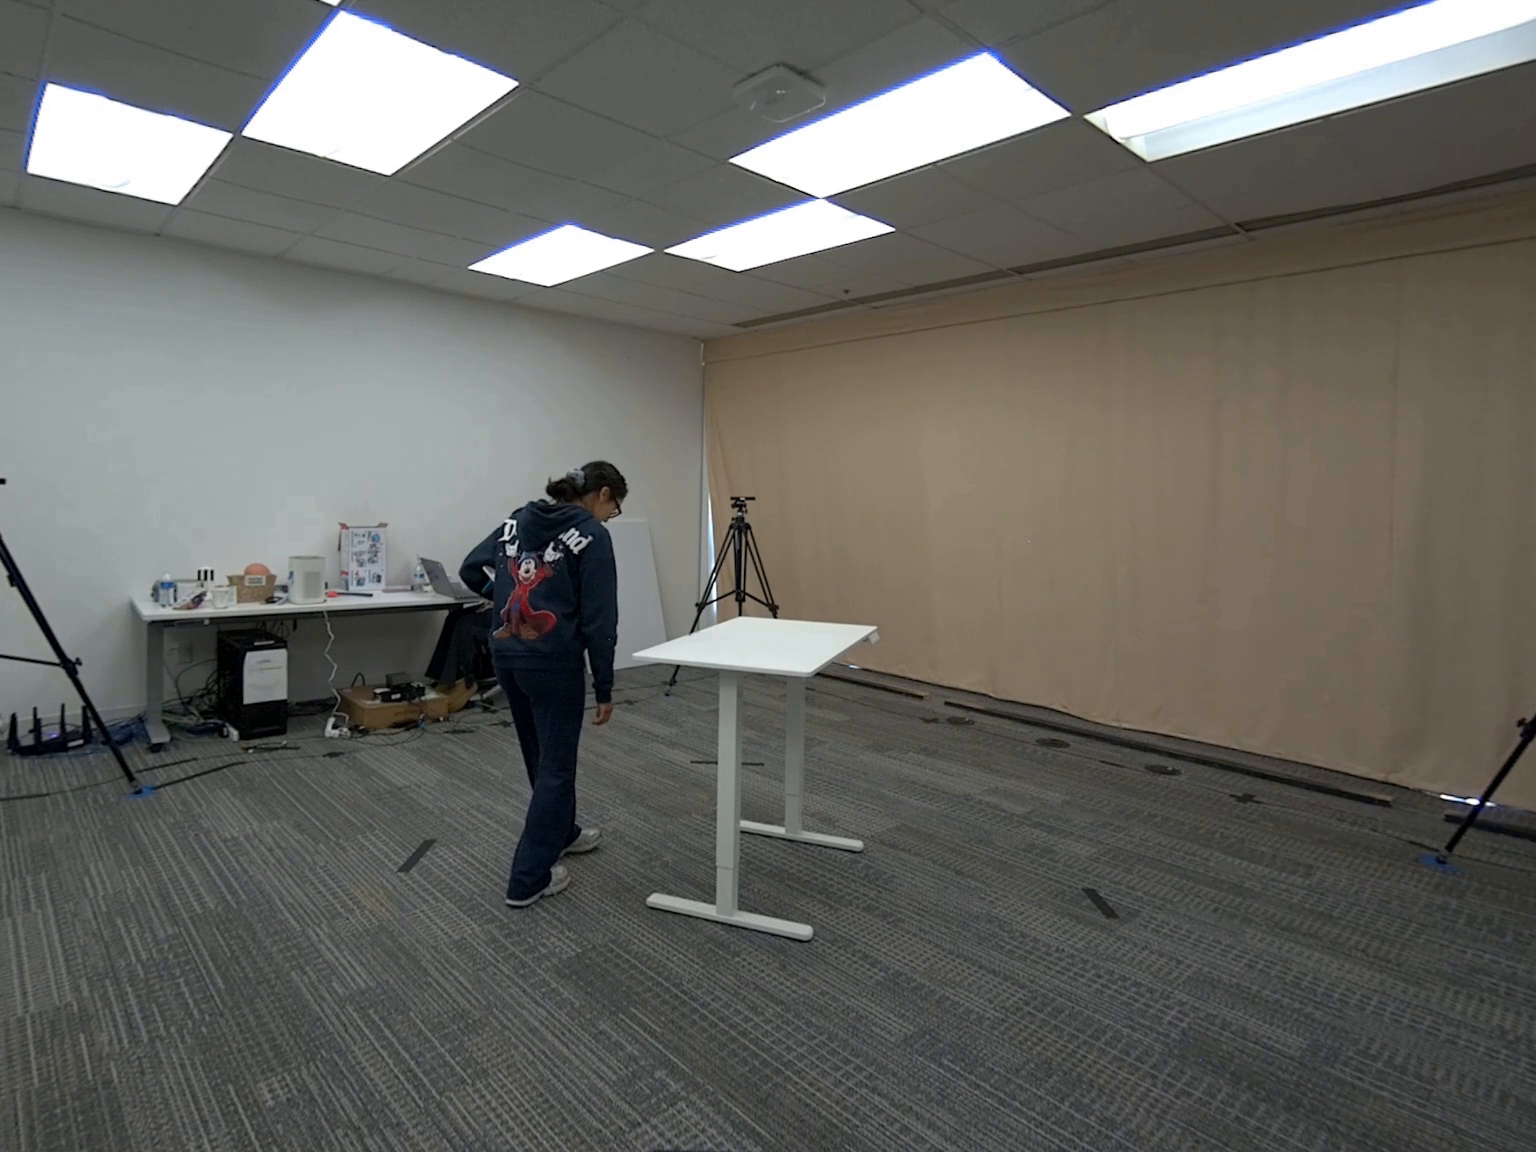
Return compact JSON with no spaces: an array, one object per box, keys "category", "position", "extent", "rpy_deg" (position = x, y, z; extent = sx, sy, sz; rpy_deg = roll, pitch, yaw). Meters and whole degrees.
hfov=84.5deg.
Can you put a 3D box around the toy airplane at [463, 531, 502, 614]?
[{"category":"toy airplane","position":[-0.936,0.003,3.096],"extent":[0.252,0.156,0.259],"rpy_deg":[14,34,-43]}]
